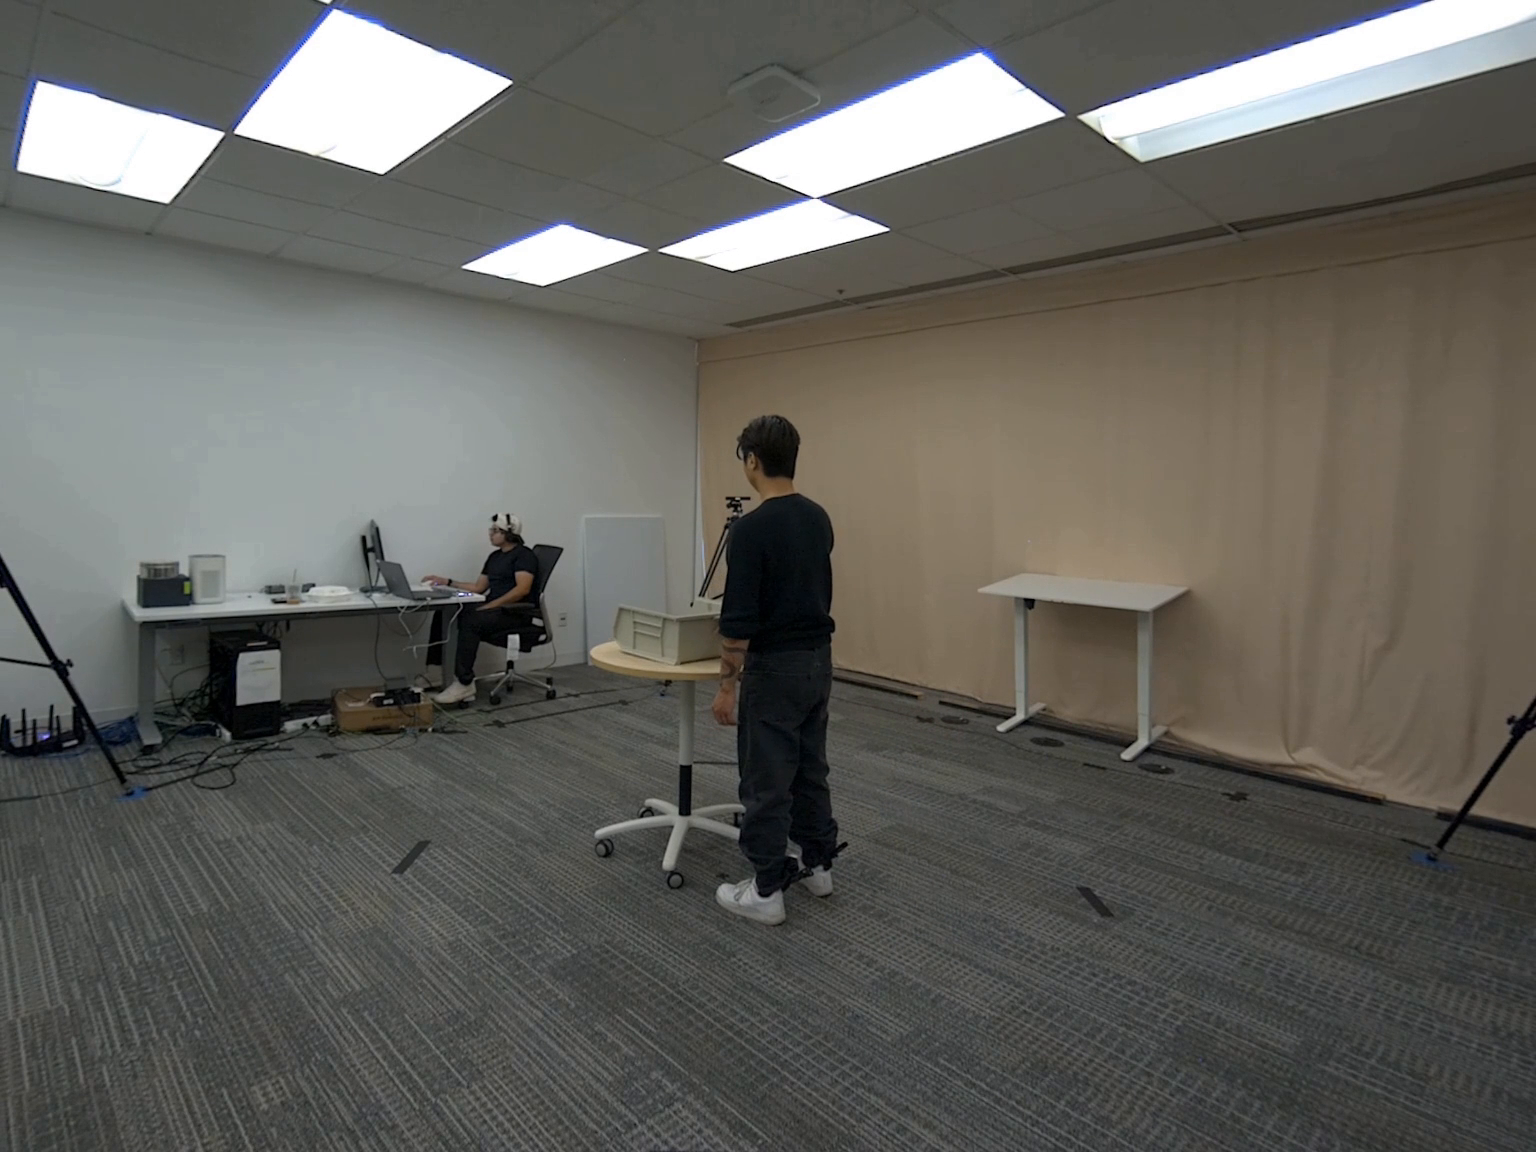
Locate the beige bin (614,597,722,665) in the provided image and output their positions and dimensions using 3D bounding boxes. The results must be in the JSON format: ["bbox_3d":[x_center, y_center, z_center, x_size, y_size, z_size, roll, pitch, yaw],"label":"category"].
[{"bbox_3d":[-0.331,0.205,3.283,0.387,0.188,0.413,10,9,42],"label":"beige bin"}]
